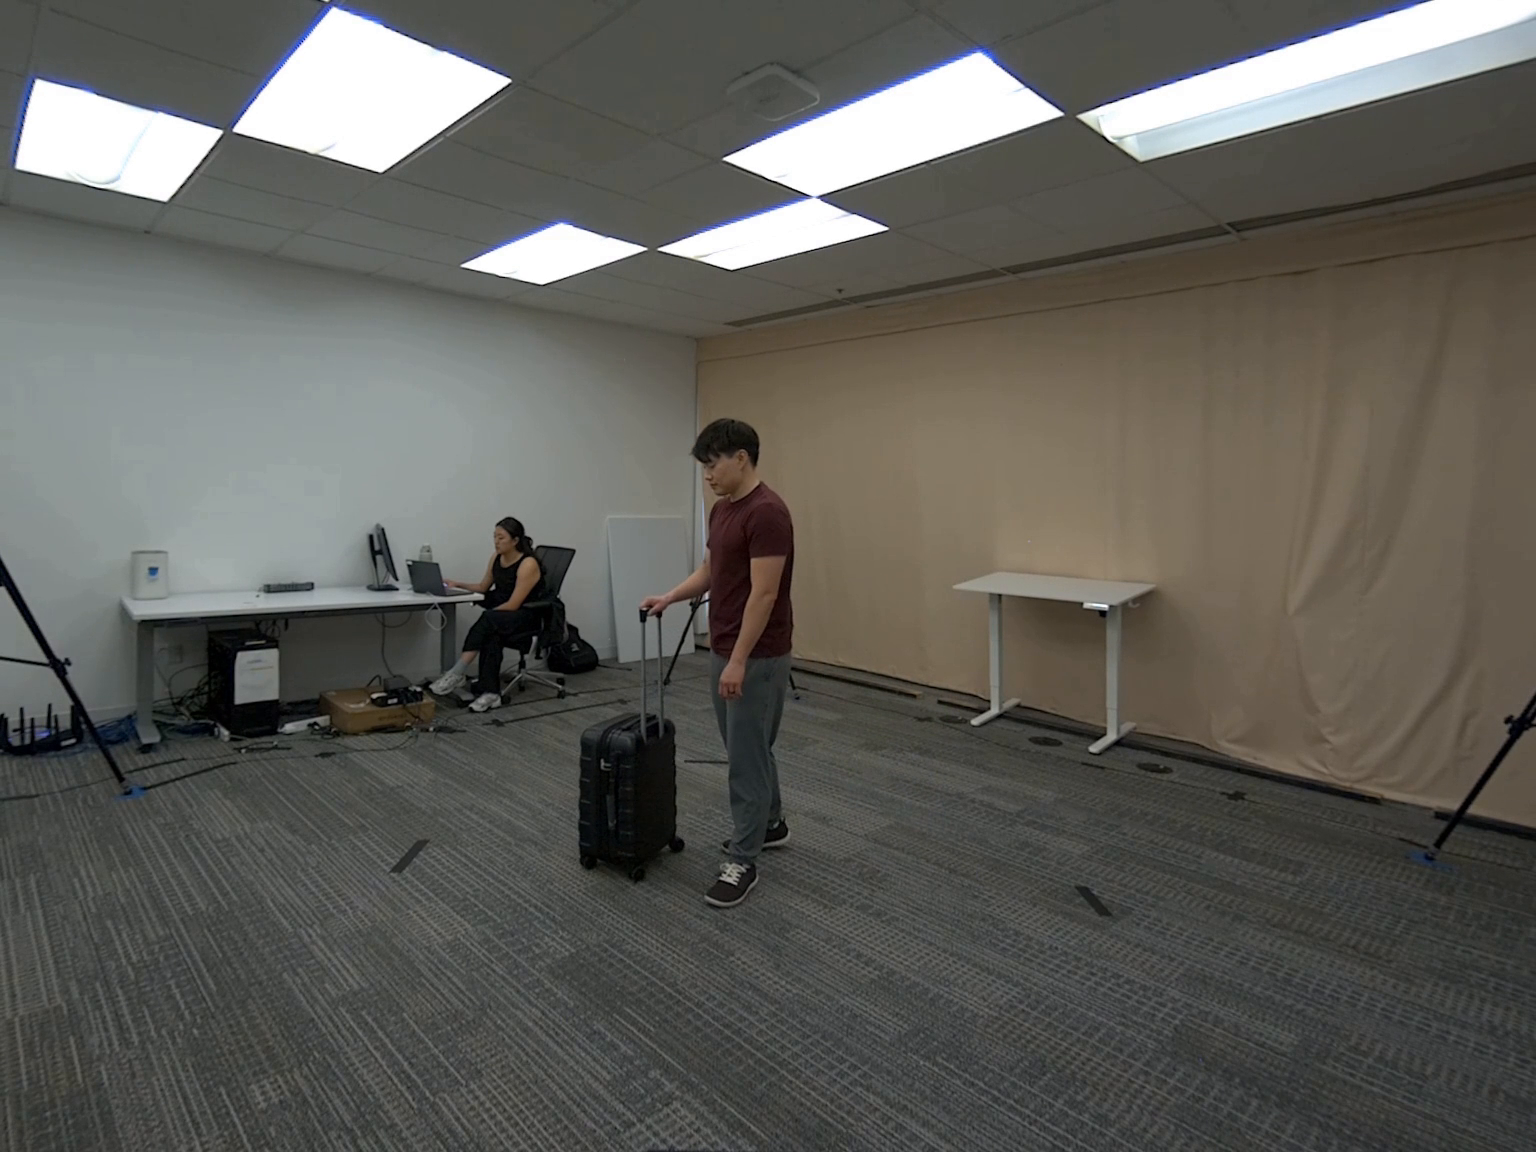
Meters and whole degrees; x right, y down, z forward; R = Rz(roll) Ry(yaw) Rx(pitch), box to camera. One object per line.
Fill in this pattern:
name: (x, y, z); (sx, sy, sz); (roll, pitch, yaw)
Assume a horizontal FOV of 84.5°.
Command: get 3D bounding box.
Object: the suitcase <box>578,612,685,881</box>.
suitcase: (-0.533, 0.608, 3.184); (0.262, 0.976, 0.378); (1, 4, 24)
